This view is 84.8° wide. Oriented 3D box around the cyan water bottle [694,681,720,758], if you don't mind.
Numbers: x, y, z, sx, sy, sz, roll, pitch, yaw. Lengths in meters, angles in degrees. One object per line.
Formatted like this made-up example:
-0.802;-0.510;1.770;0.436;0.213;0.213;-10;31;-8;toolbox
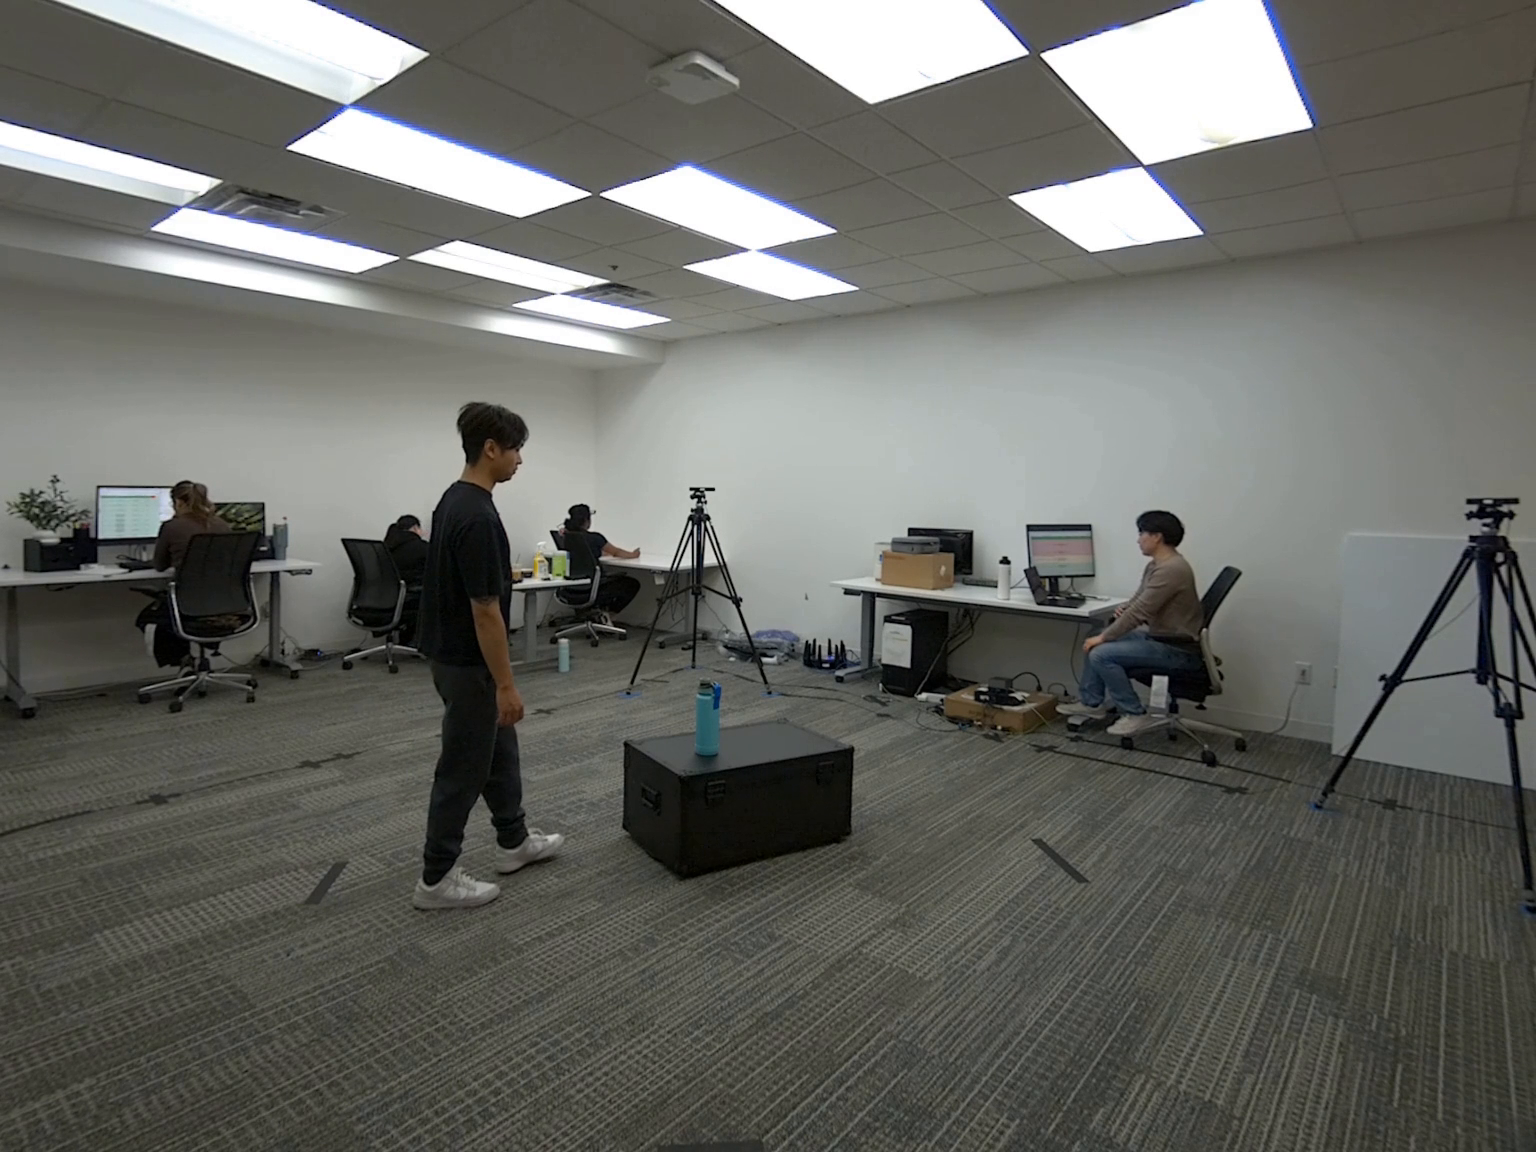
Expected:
-0.238;0.533;3.272;0.092;0.283;0.093;5;3;-2;cyan water bottle
